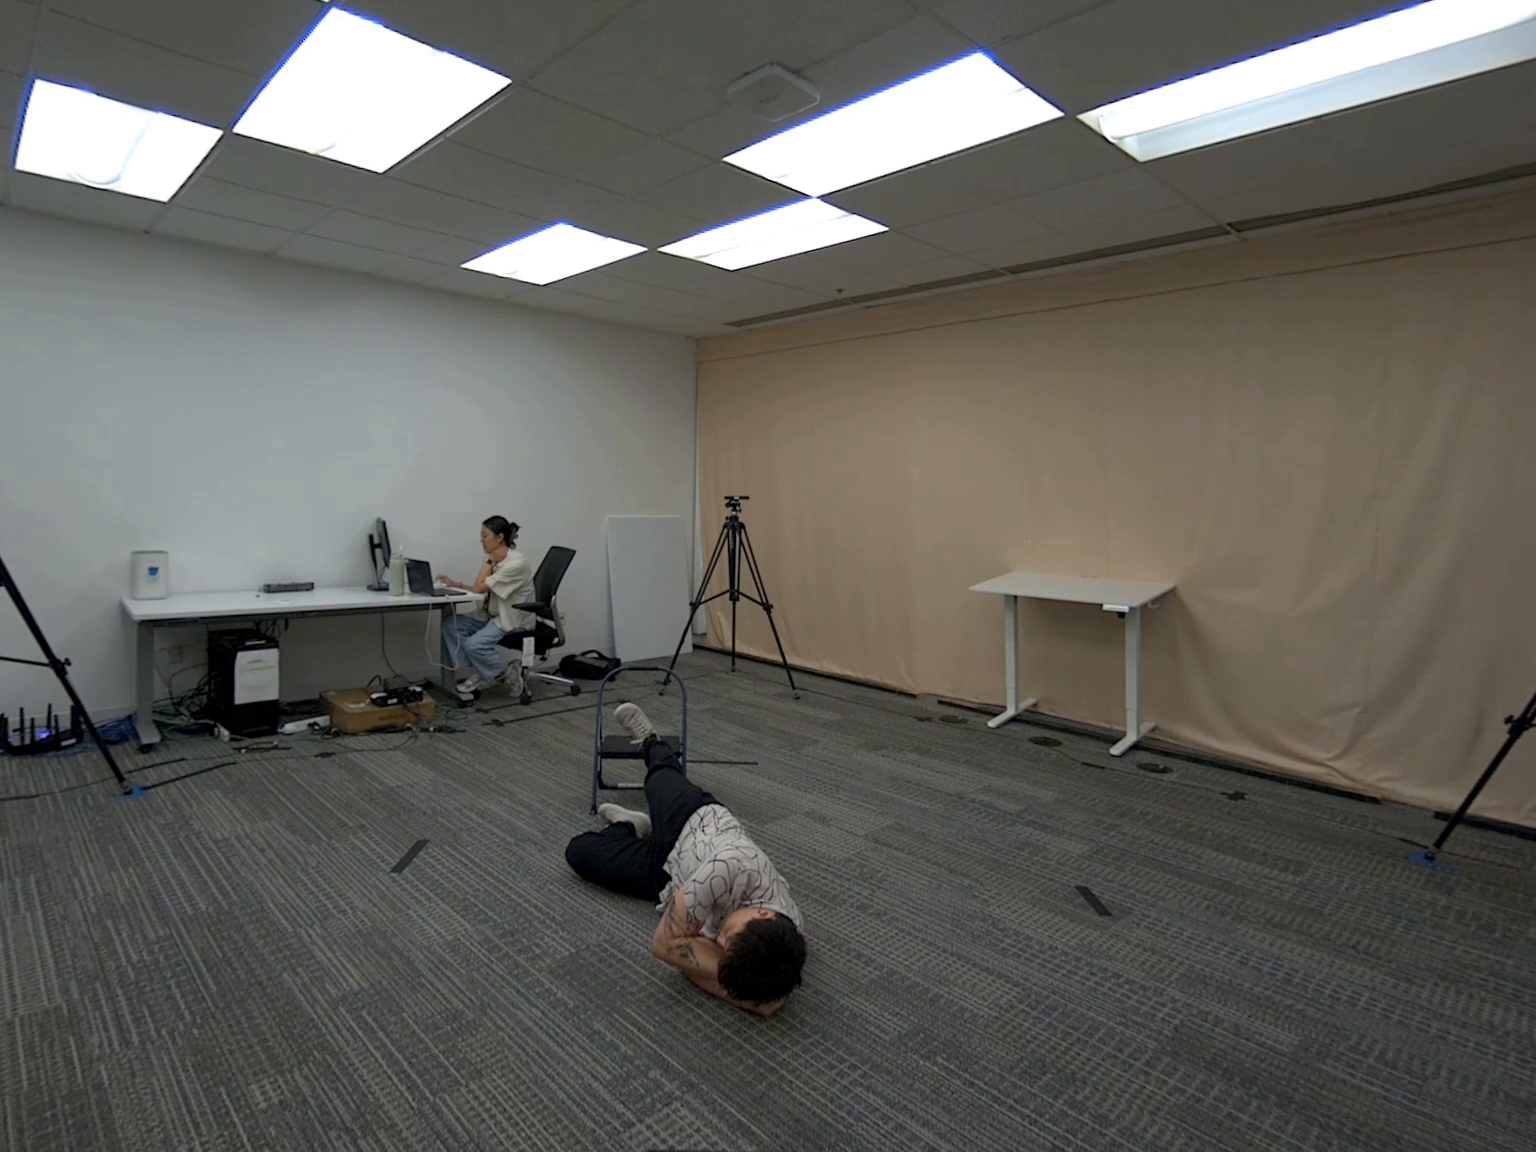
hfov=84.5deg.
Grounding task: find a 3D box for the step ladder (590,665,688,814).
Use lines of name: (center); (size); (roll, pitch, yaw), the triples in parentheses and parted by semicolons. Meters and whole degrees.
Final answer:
step ladder: (-0.587, 0.732, 3.843); (0.428, 0.604, 0.352); (2, 4, -7)
